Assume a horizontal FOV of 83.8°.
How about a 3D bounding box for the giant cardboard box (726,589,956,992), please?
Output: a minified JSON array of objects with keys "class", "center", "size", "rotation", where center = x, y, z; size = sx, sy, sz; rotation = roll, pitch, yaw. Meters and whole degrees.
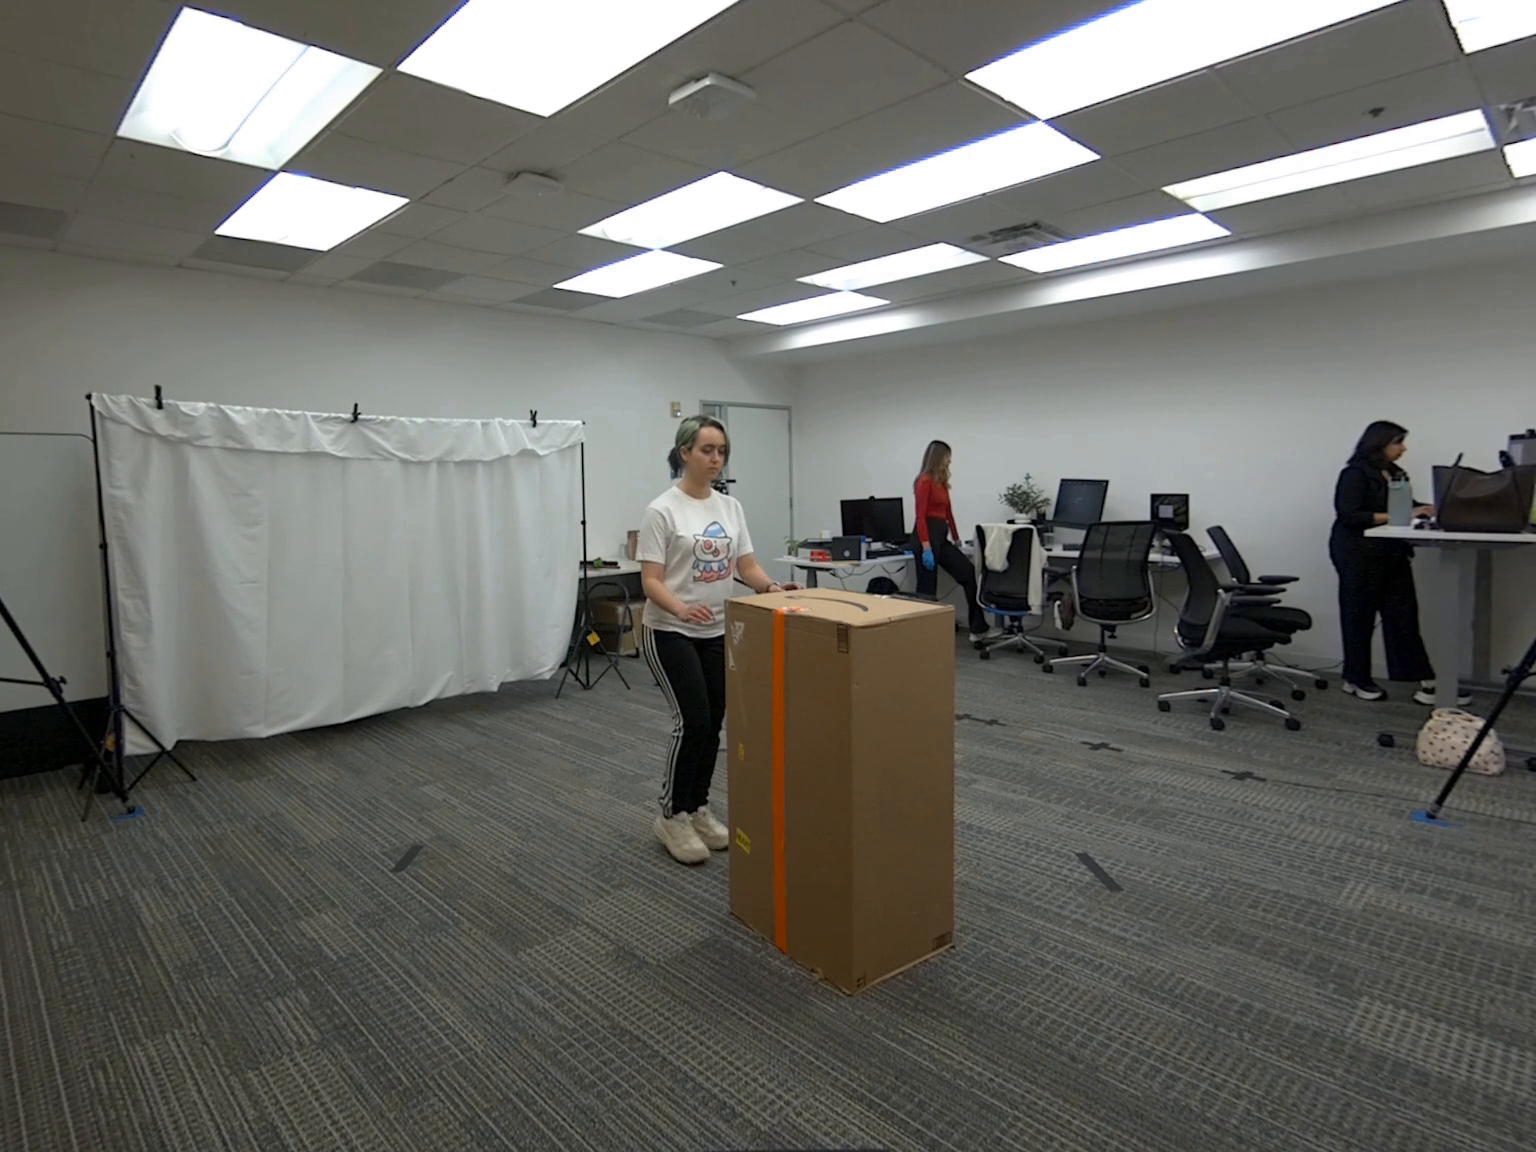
[{"class":"giant cardboard box","center":[0.211,0.592,2.613],"size":[0.435,1.023,0.601],"rotation":[-3,5,-38]}]
